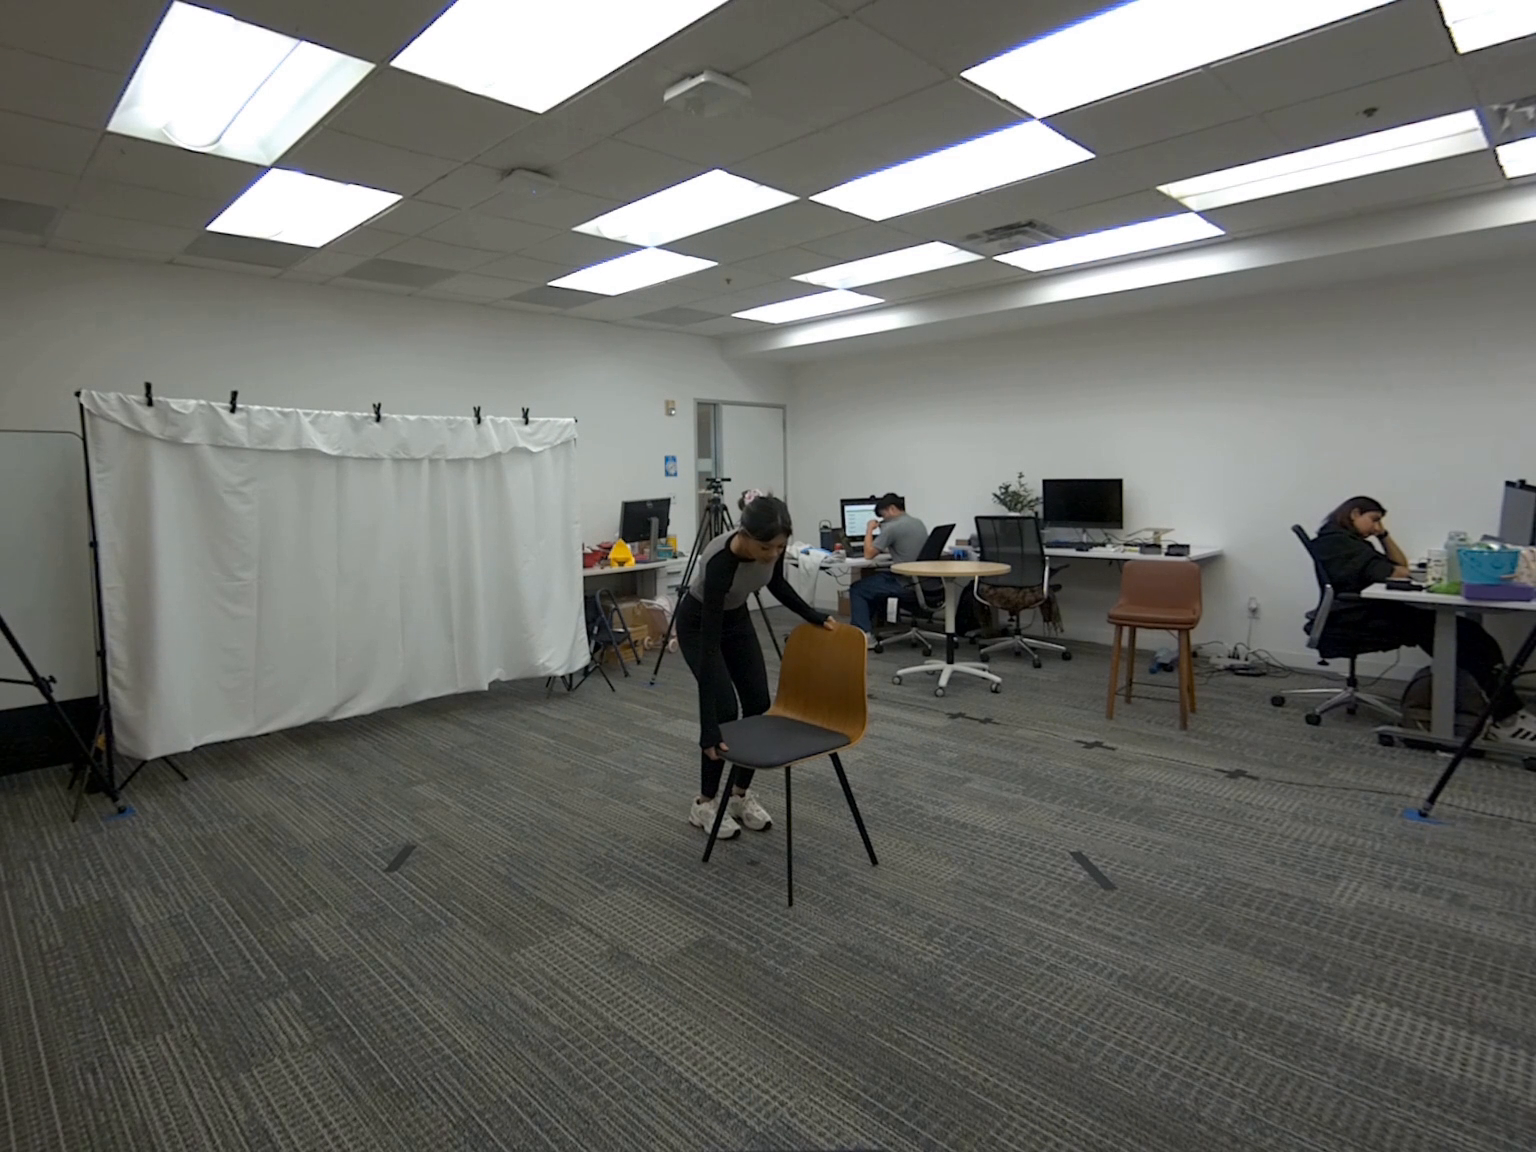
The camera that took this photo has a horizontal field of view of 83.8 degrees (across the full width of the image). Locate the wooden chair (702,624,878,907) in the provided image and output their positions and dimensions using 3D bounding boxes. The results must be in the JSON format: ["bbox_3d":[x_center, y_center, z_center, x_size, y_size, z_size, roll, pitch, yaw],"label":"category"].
[{"bbox_3d":[0.071,0.617,3.052,0.508,0.877,0.493,1,2,-43],"label":"wooden chair"}]
